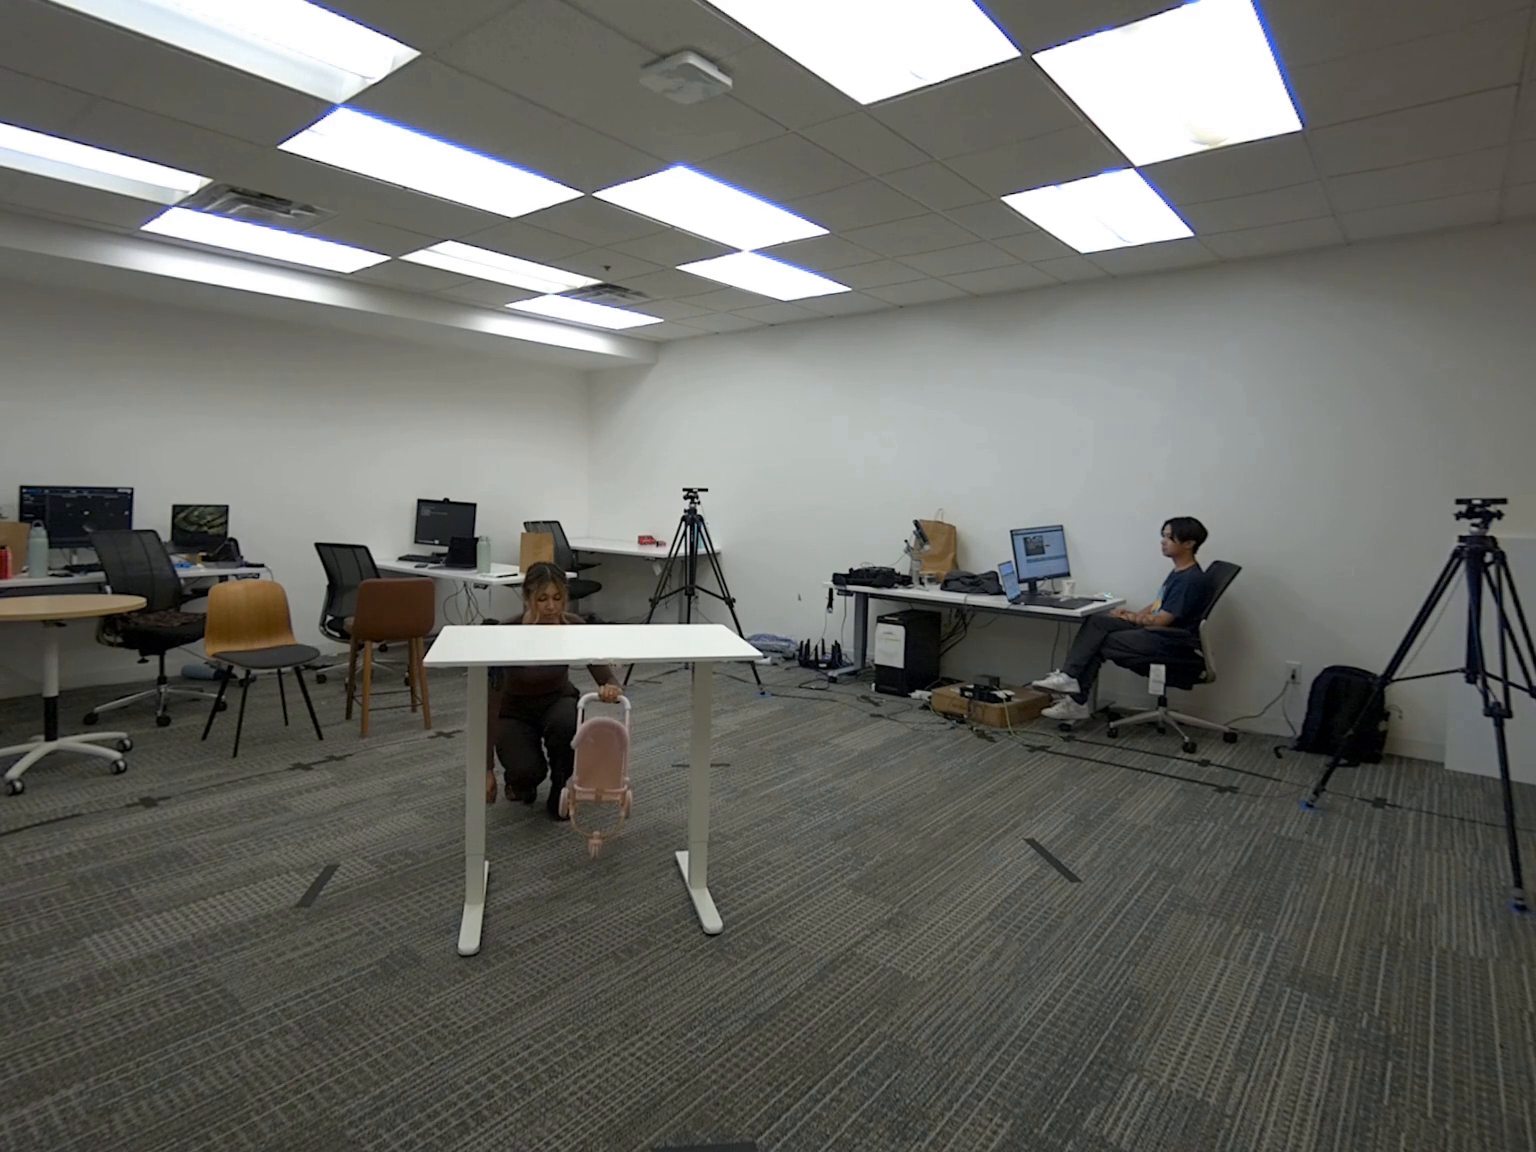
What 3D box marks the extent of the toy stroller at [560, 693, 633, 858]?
[{"bbox_3d":[-0.651,0.748,3.236,0.279,0.533,0.345,6,4,-8],"label":"toy stroller"}]
